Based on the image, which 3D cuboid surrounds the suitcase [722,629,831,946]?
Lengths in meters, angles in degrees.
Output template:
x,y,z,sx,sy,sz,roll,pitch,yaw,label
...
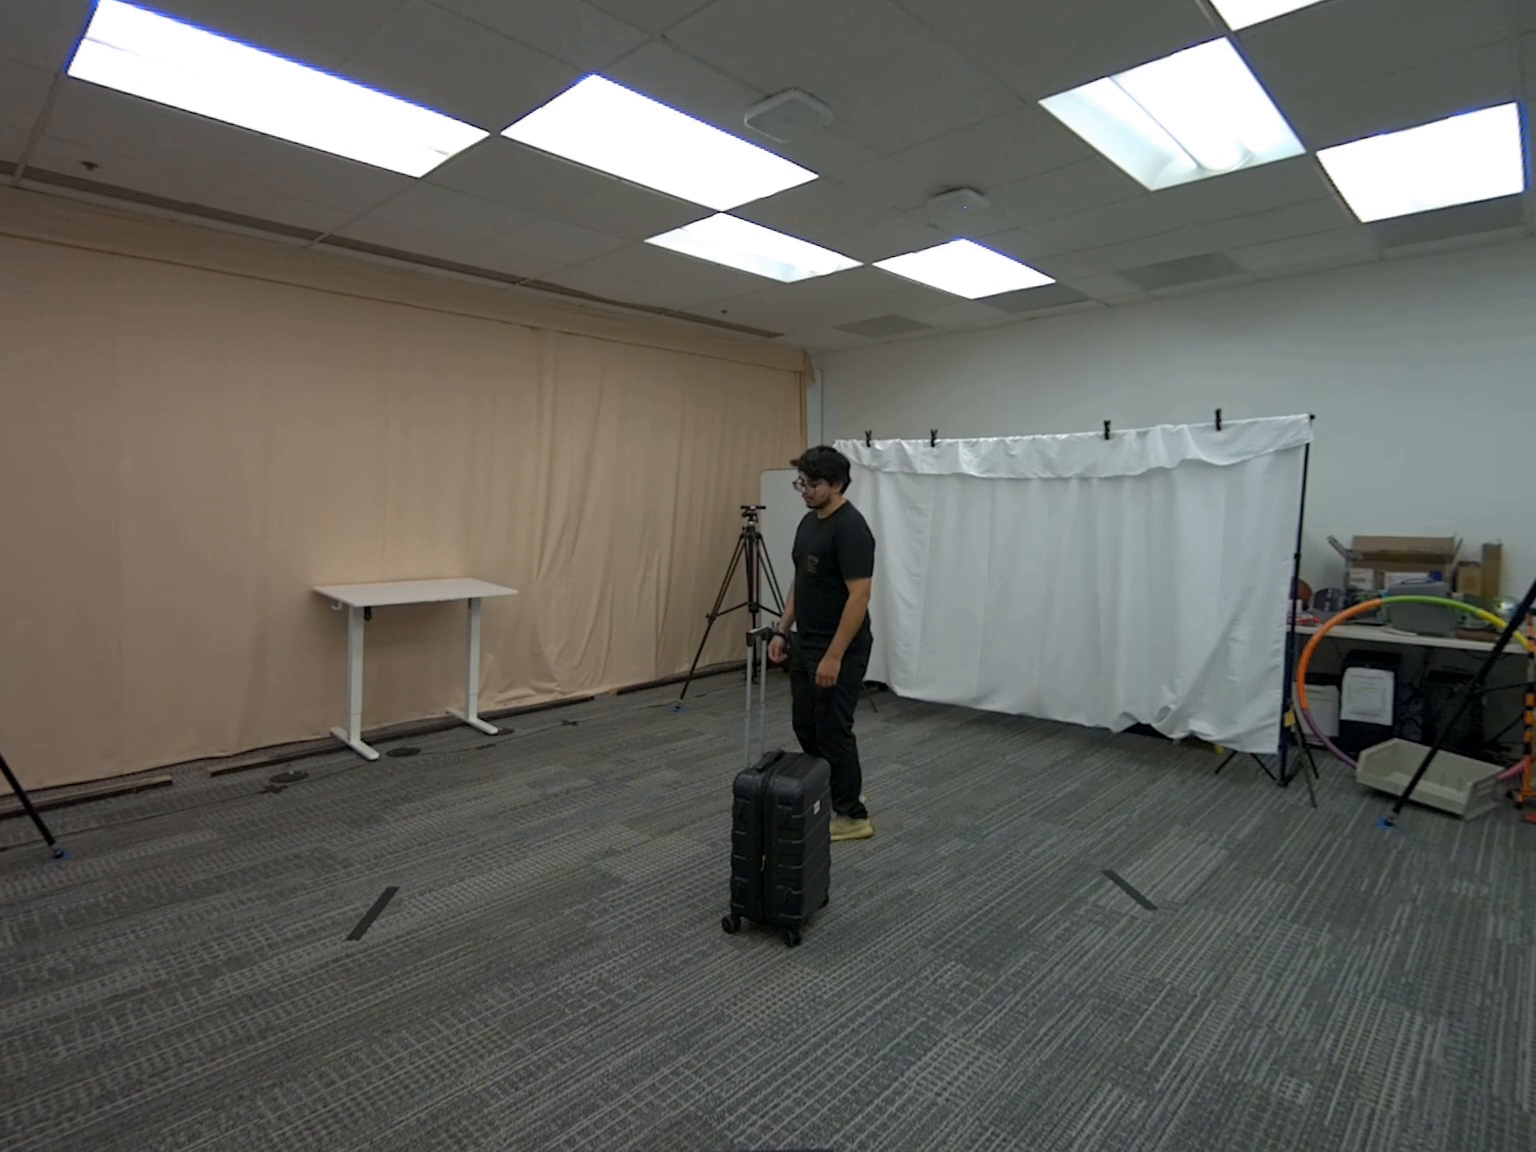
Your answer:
x,y,z,sx,sy,sz,roll,pitch,yaw,label
0.057,0.686,2.801,0.263,0.976,0.376,5,5,20,suitcase
